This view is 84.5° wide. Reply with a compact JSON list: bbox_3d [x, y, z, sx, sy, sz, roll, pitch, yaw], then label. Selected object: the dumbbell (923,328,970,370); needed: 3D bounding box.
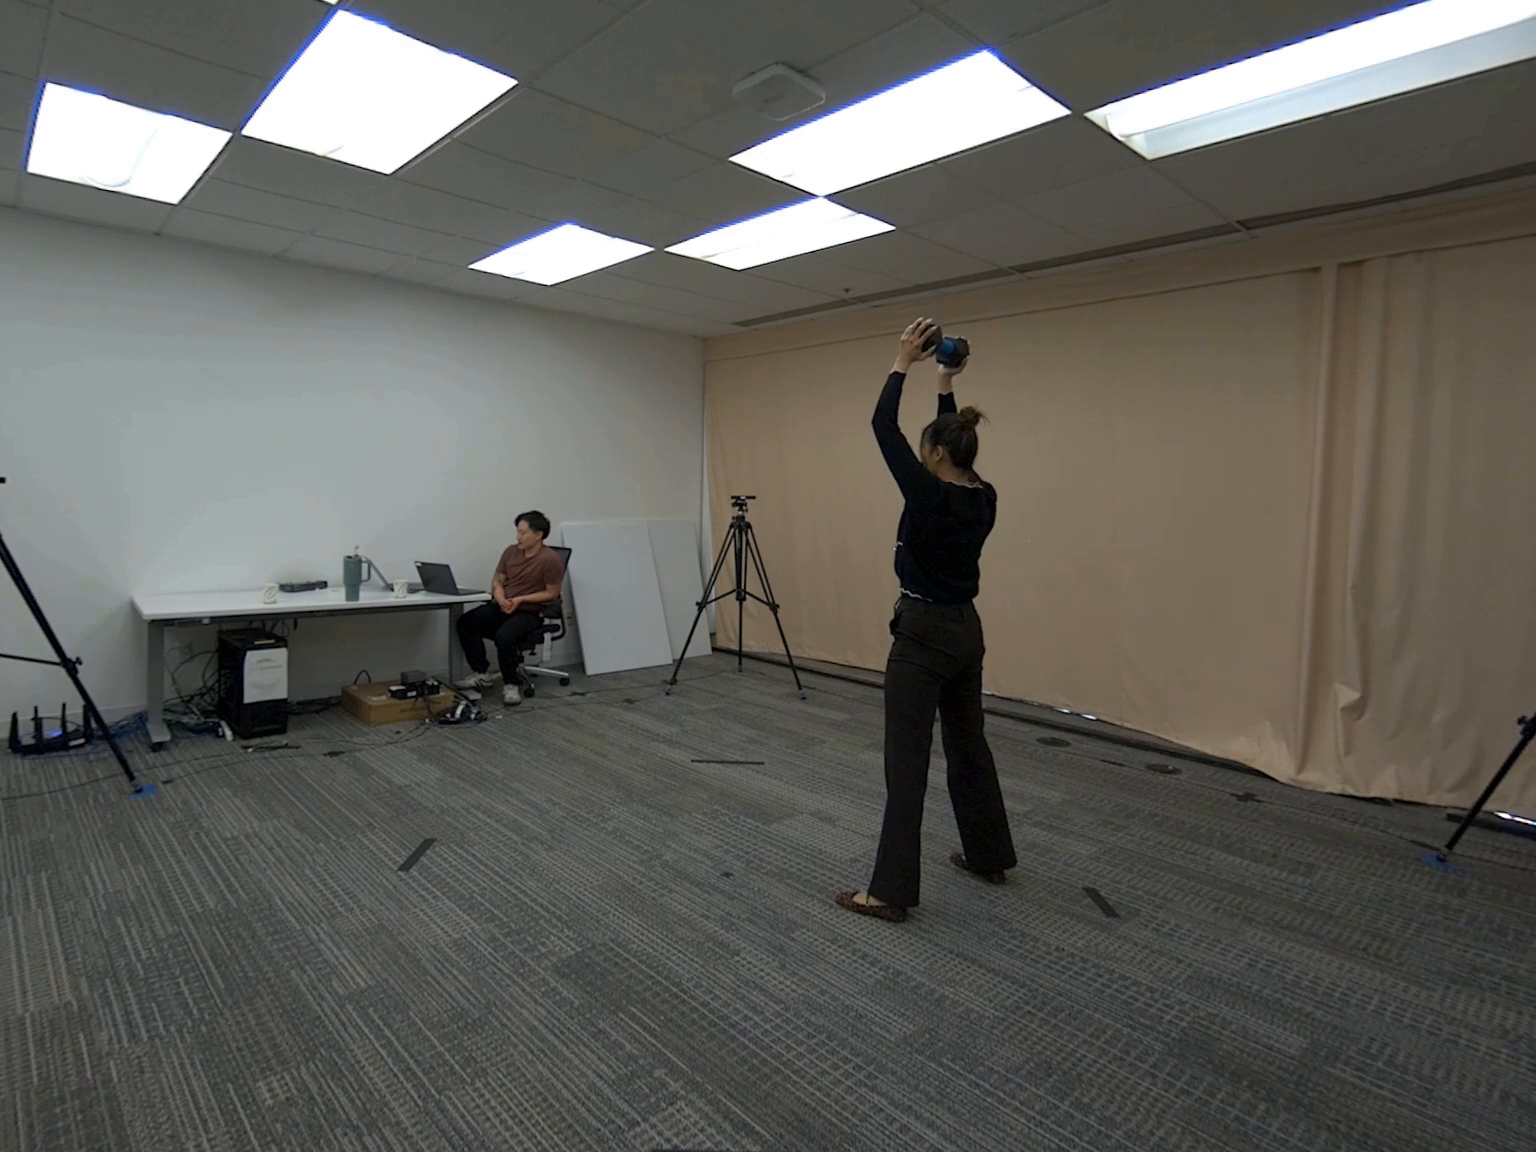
[{"bbox_3d":[0.605,-0.821,3.019,0.287,0.111,0.123,-1,-37,-51],"label":"dumbbell"}]
